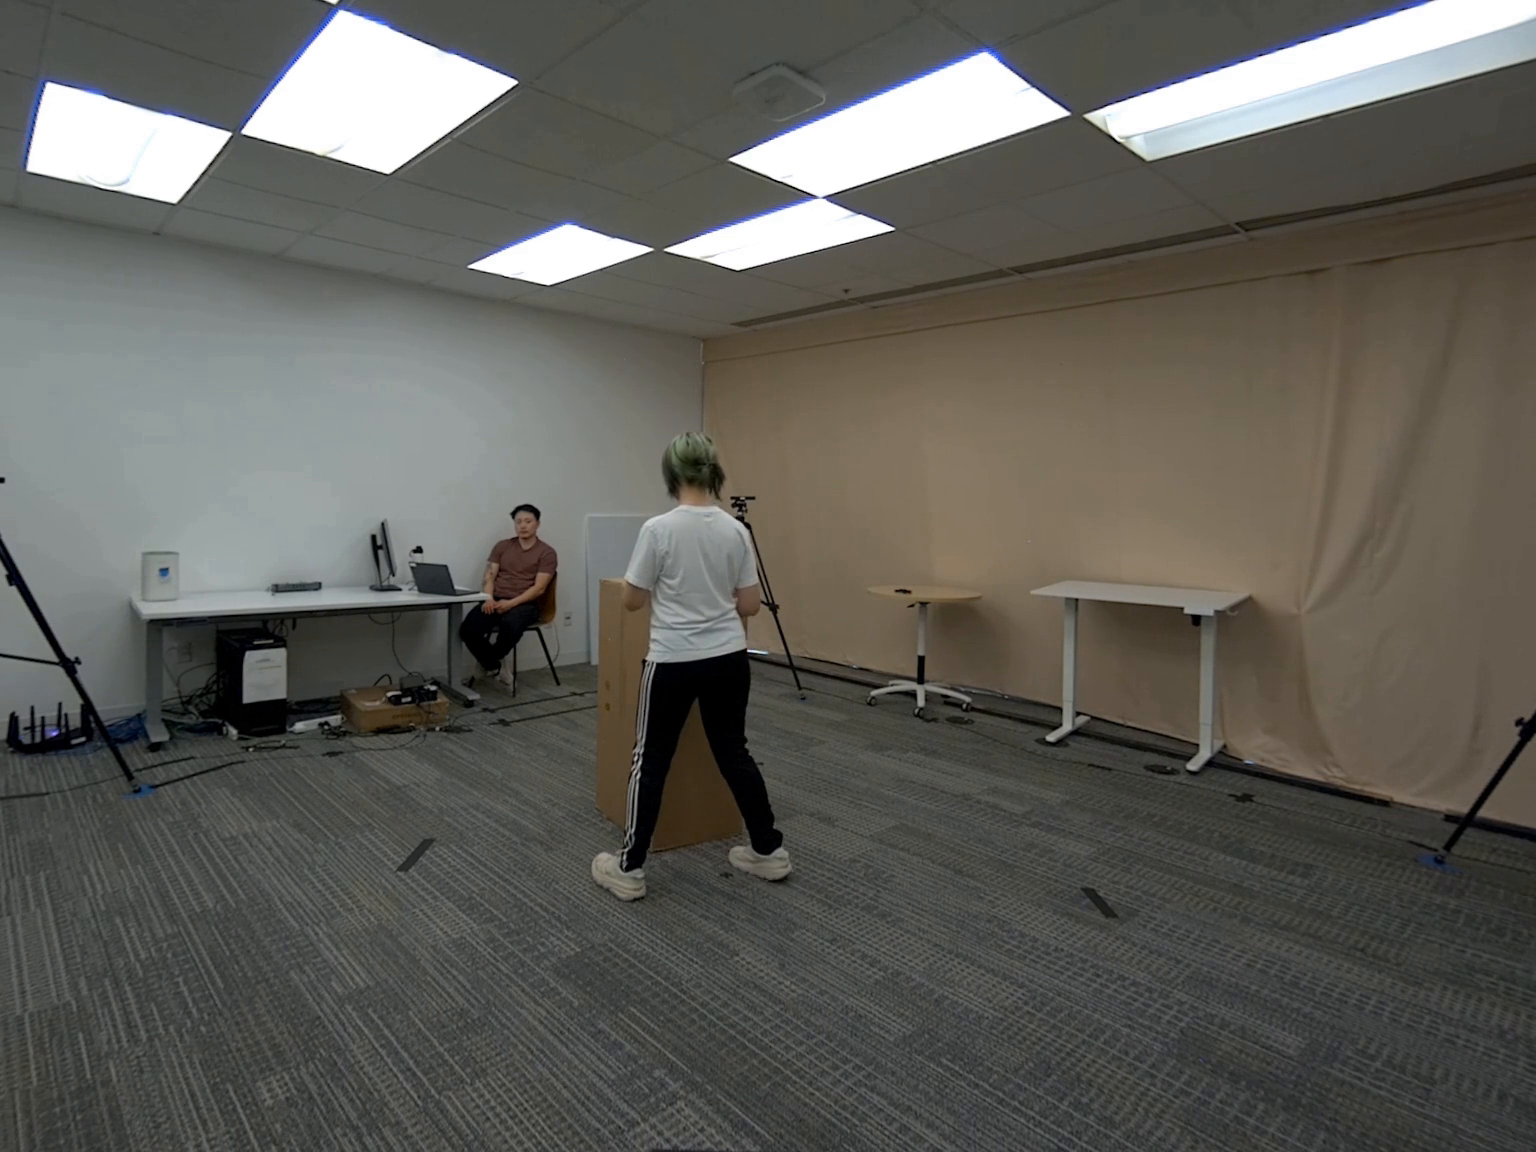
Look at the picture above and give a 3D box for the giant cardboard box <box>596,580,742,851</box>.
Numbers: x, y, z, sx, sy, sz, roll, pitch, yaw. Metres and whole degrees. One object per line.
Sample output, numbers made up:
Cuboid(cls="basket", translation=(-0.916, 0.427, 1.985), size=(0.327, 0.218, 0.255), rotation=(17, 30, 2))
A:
Cuboid(cls="giant cardboard box", translation=(-0.434, 0.548, 3.615), size=(0.437, 1.025, 0.598), rotation=(0, 3, -34))
